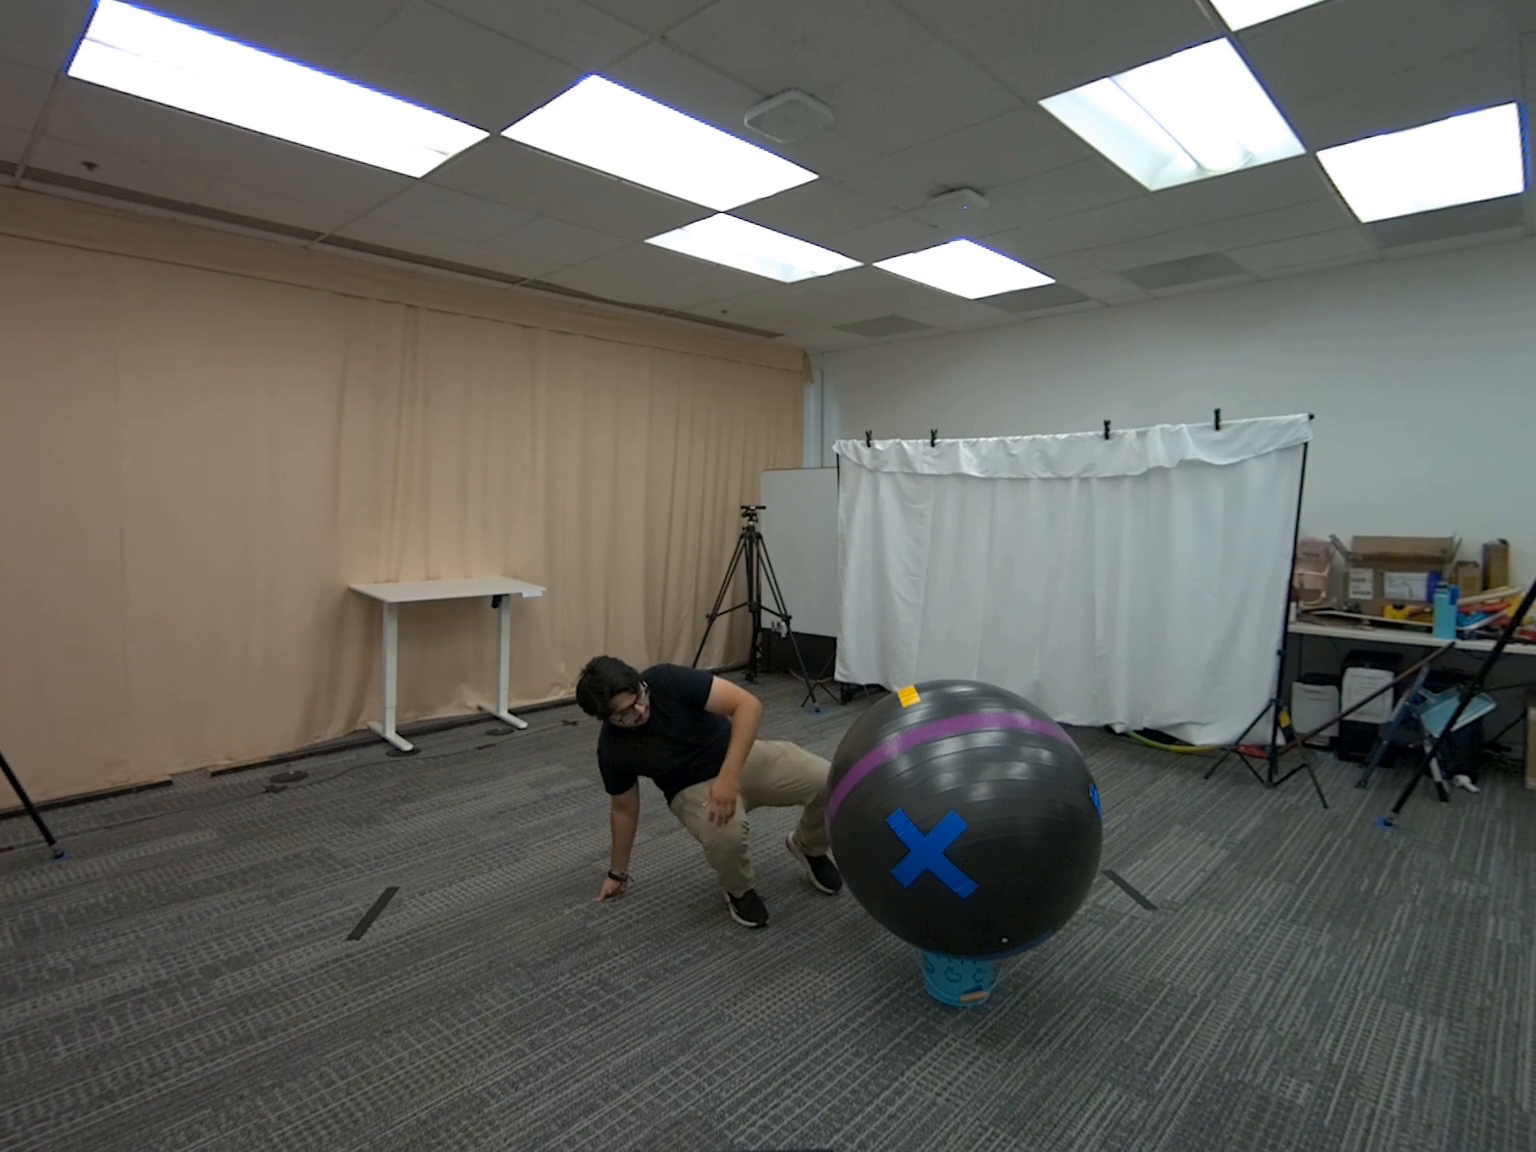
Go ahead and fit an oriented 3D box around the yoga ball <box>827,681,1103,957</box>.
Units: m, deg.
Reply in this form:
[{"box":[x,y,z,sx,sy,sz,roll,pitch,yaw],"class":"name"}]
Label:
[{"box":[0.553,0.684,2.406,0.757,0.756,0.760,0,4,-2],"class":"yoga ball"}]
